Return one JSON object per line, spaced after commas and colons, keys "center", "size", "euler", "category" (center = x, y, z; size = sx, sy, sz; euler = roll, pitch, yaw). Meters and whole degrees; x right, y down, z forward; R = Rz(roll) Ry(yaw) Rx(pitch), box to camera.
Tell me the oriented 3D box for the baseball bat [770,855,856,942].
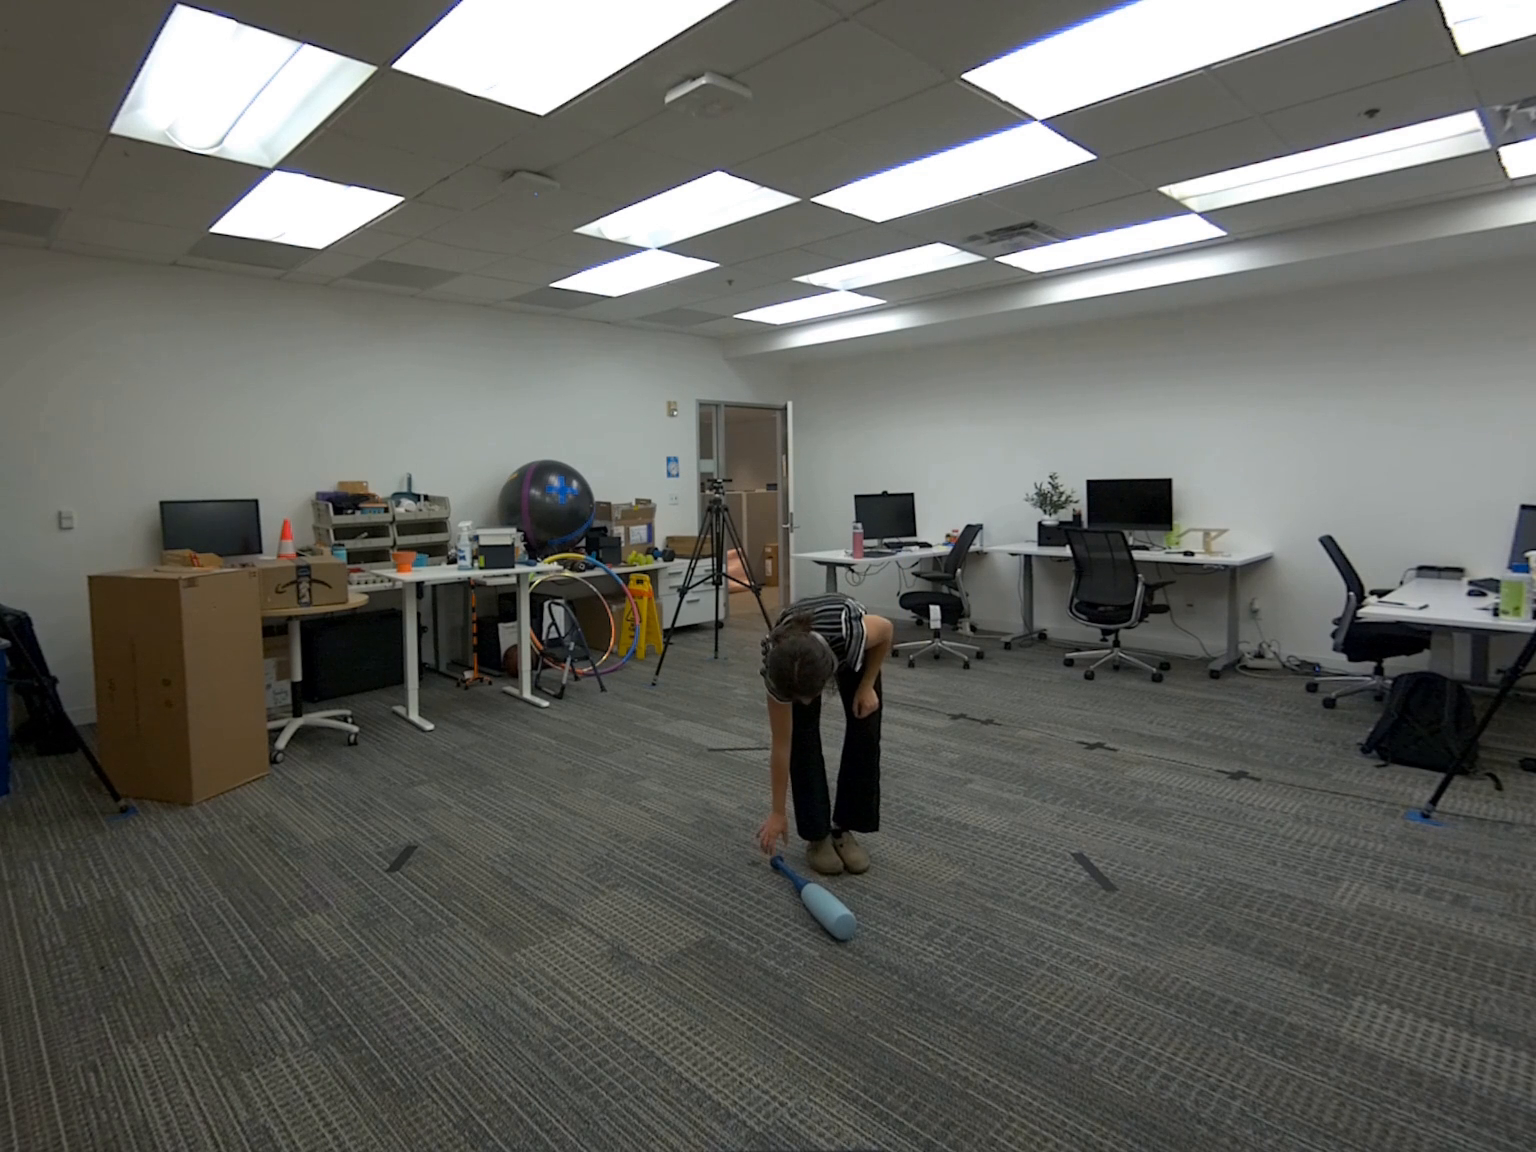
{"center": [0.140, 1.043, 2.810], "size": [0.087, 0.089, 0.554], "euler": [-3, 4, -22], "category": "baseball bat"}
